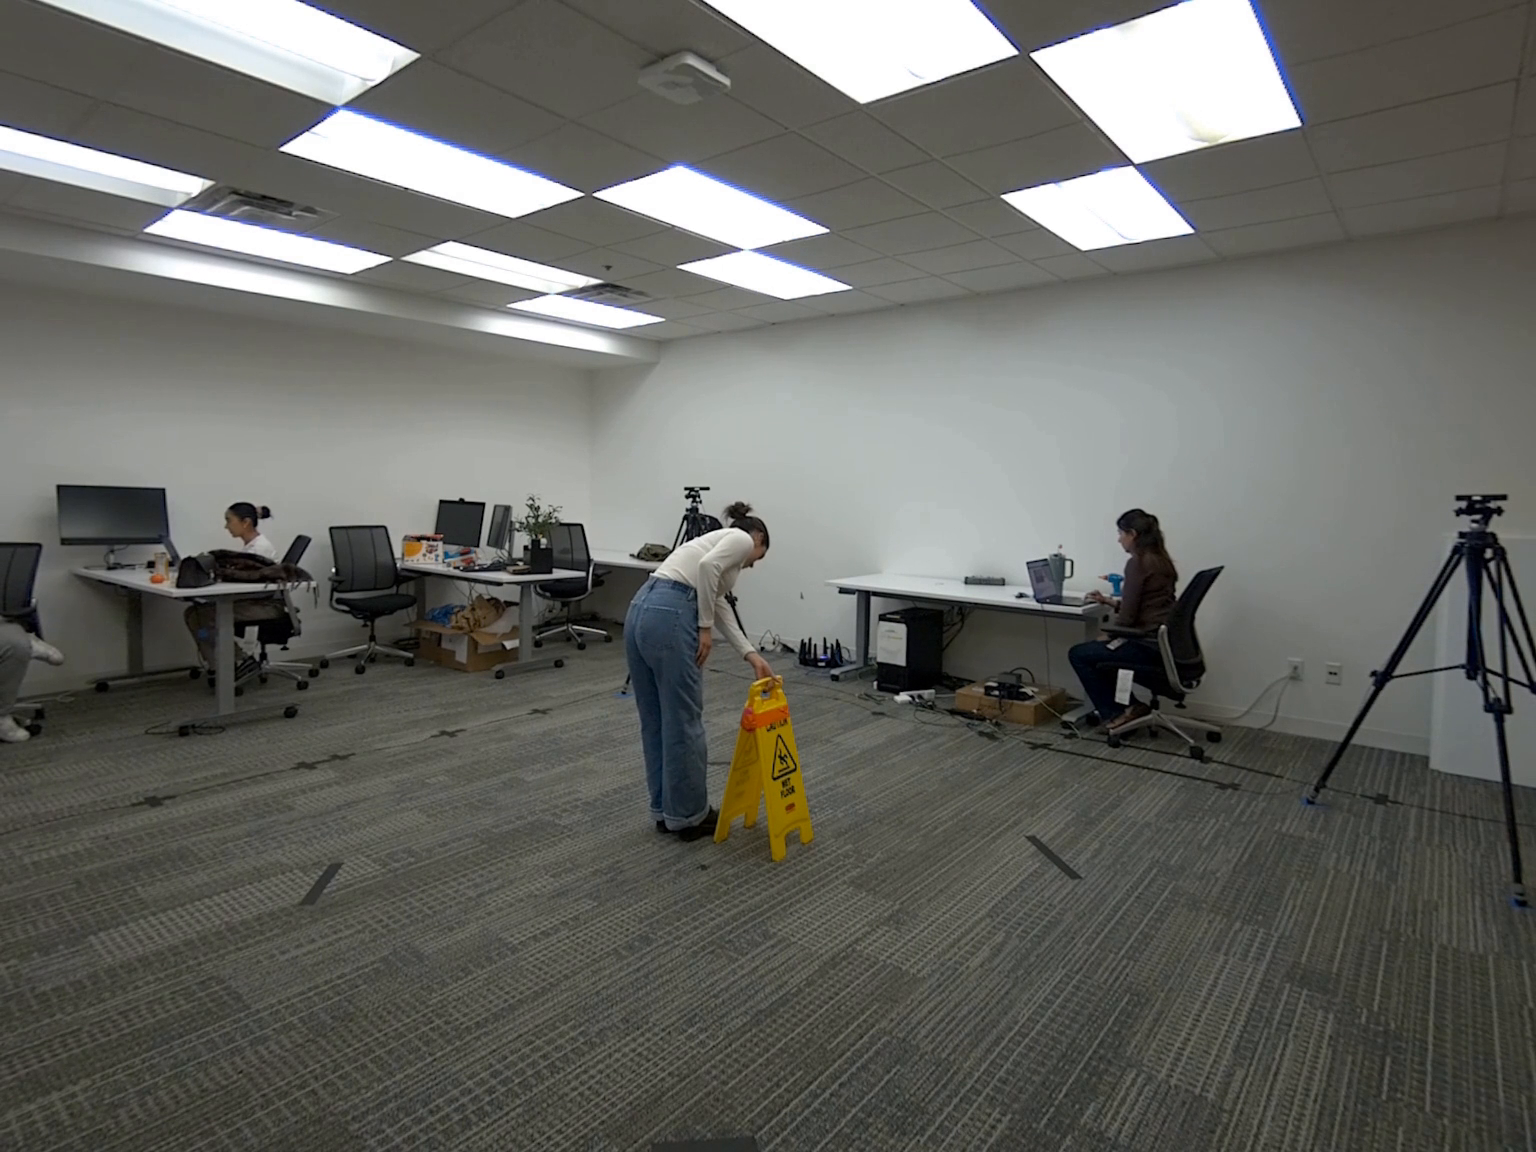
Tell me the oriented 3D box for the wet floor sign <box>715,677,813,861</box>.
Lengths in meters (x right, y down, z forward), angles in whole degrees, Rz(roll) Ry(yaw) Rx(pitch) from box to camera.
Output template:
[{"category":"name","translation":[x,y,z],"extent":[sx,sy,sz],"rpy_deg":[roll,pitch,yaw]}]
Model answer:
[{"category":"wet floor sign","translation":[-0.015,0.723,3.346],"extent":[0.299,0.644,0.274],"rpy_deg":[4,4,35]}]
